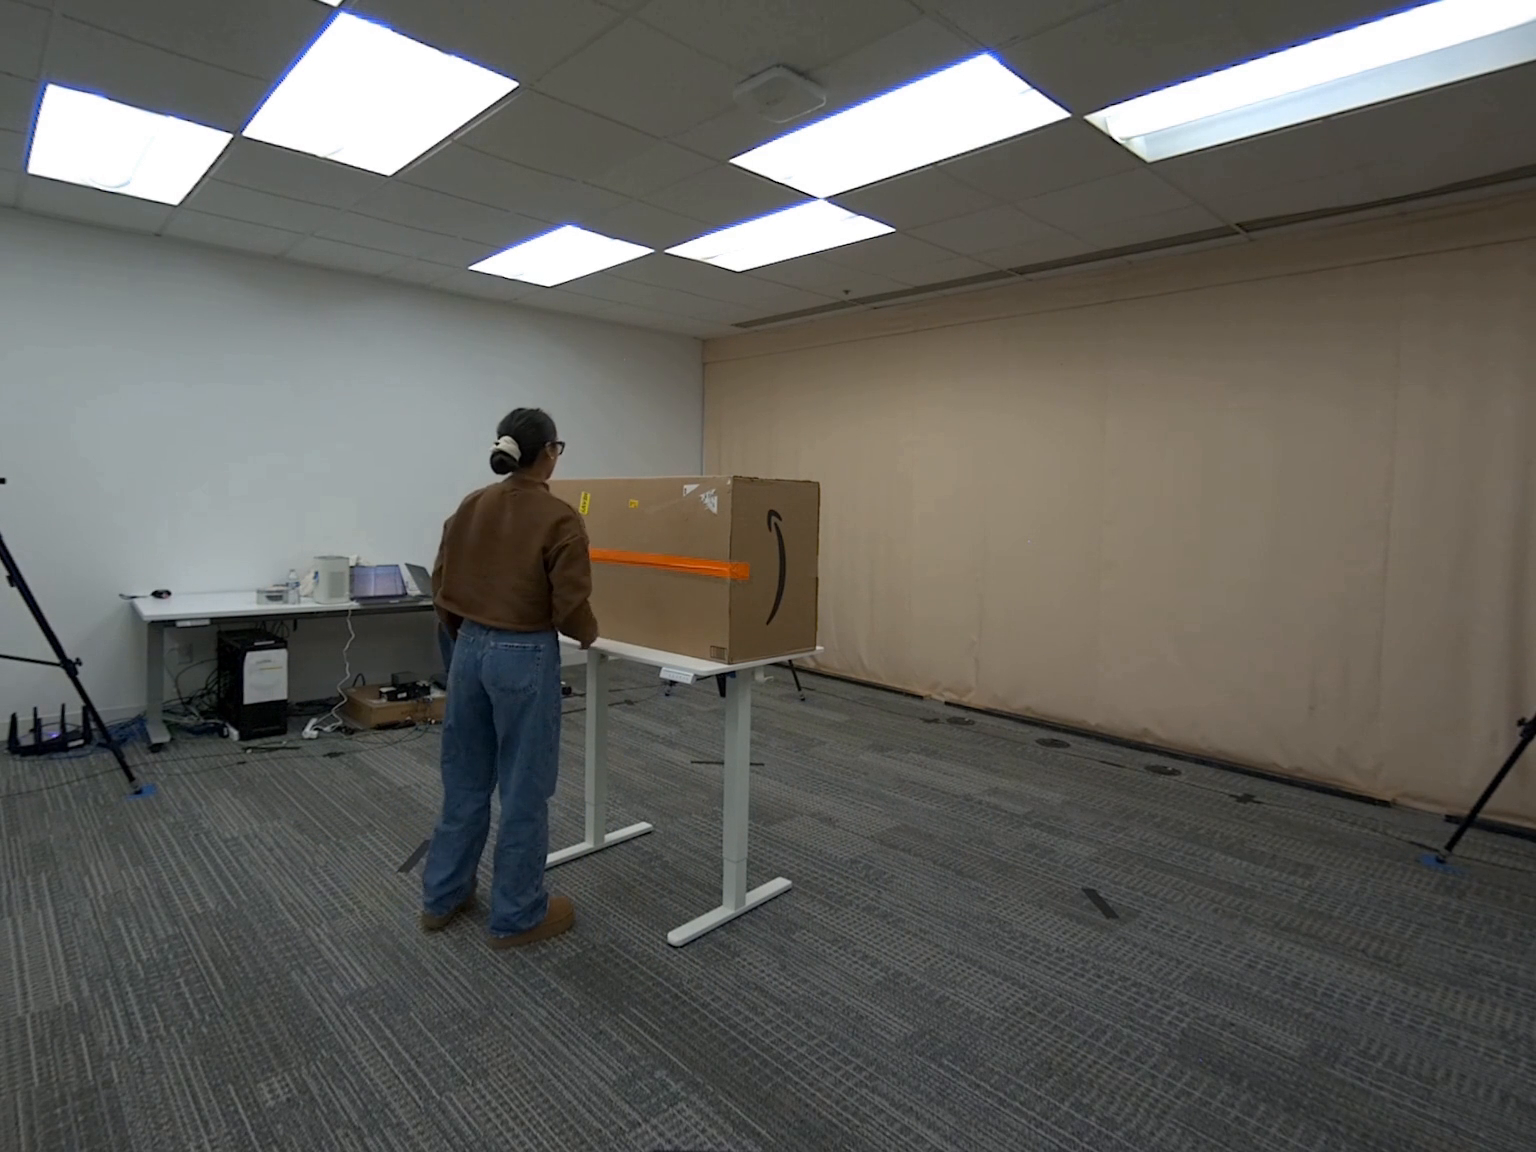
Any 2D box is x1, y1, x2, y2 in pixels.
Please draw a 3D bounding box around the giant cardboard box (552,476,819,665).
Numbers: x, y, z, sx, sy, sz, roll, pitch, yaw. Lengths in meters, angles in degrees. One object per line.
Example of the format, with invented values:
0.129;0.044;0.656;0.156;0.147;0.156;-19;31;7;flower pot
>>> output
-0.352;-0.056;3.055;1.052;0.576;0.416;5;4;44;giant cardboard box
